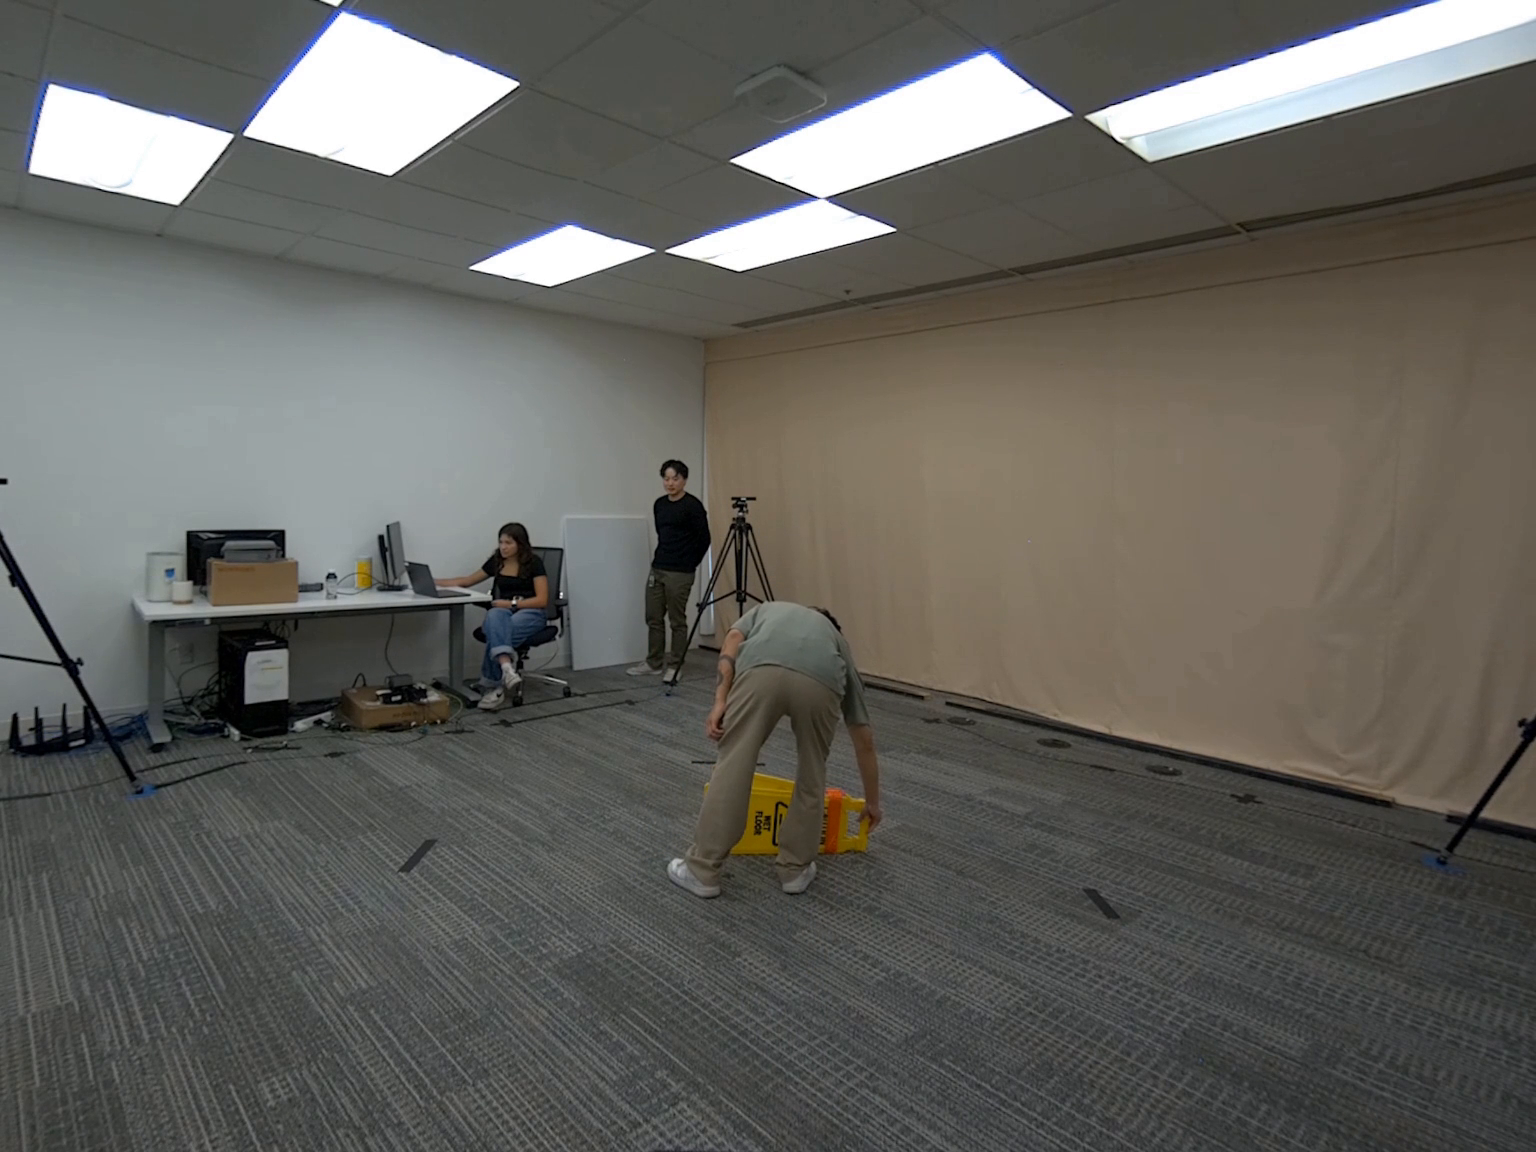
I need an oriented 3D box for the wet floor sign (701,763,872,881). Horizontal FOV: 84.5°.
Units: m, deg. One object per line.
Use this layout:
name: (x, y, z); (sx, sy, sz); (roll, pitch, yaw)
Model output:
wet floor sign: (0.071, 0.965, 3.368); (0.649, 0.281, 0.289); (5, 5, 6)
